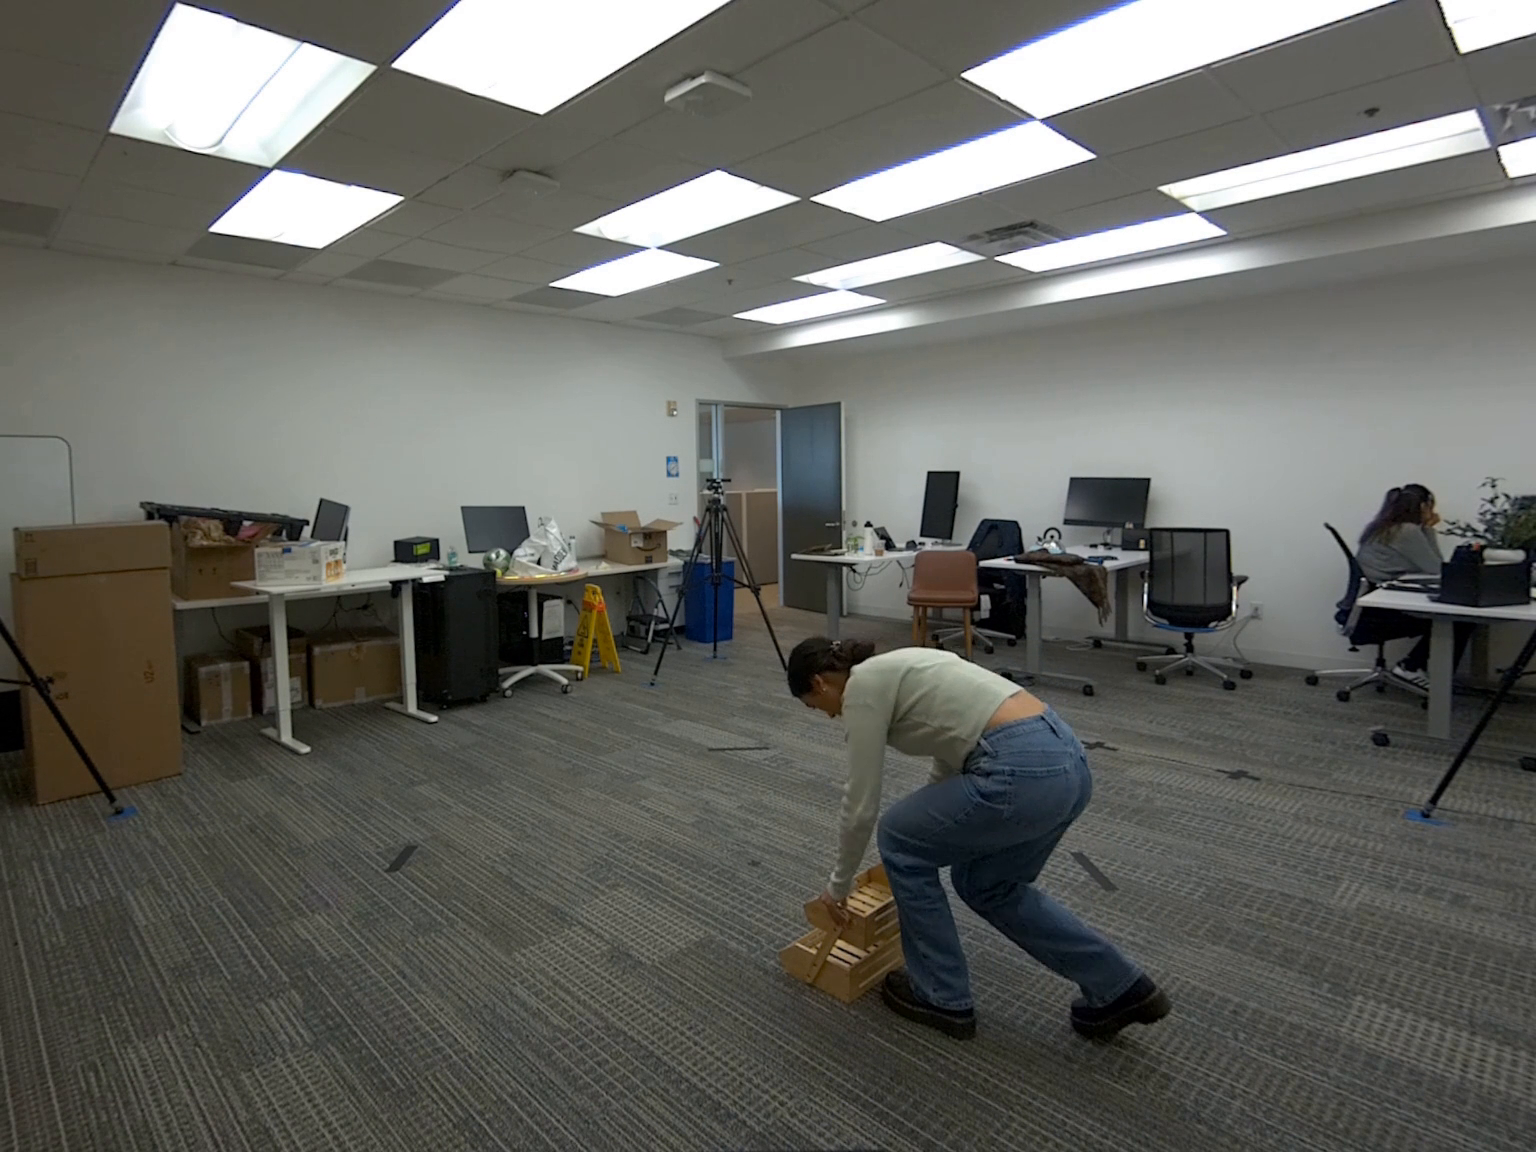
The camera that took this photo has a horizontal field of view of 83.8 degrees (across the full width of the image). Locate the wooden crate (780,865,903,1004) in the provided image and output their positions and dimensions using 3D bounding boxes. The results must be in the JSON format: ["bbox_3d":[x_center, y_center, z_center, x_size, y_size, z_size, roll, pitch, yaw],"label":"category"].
[{"bbox_3d":[0.249,0.983,2.430,0.311,0.272,0.316,6,8,43],"label":"wooden crate"}]
